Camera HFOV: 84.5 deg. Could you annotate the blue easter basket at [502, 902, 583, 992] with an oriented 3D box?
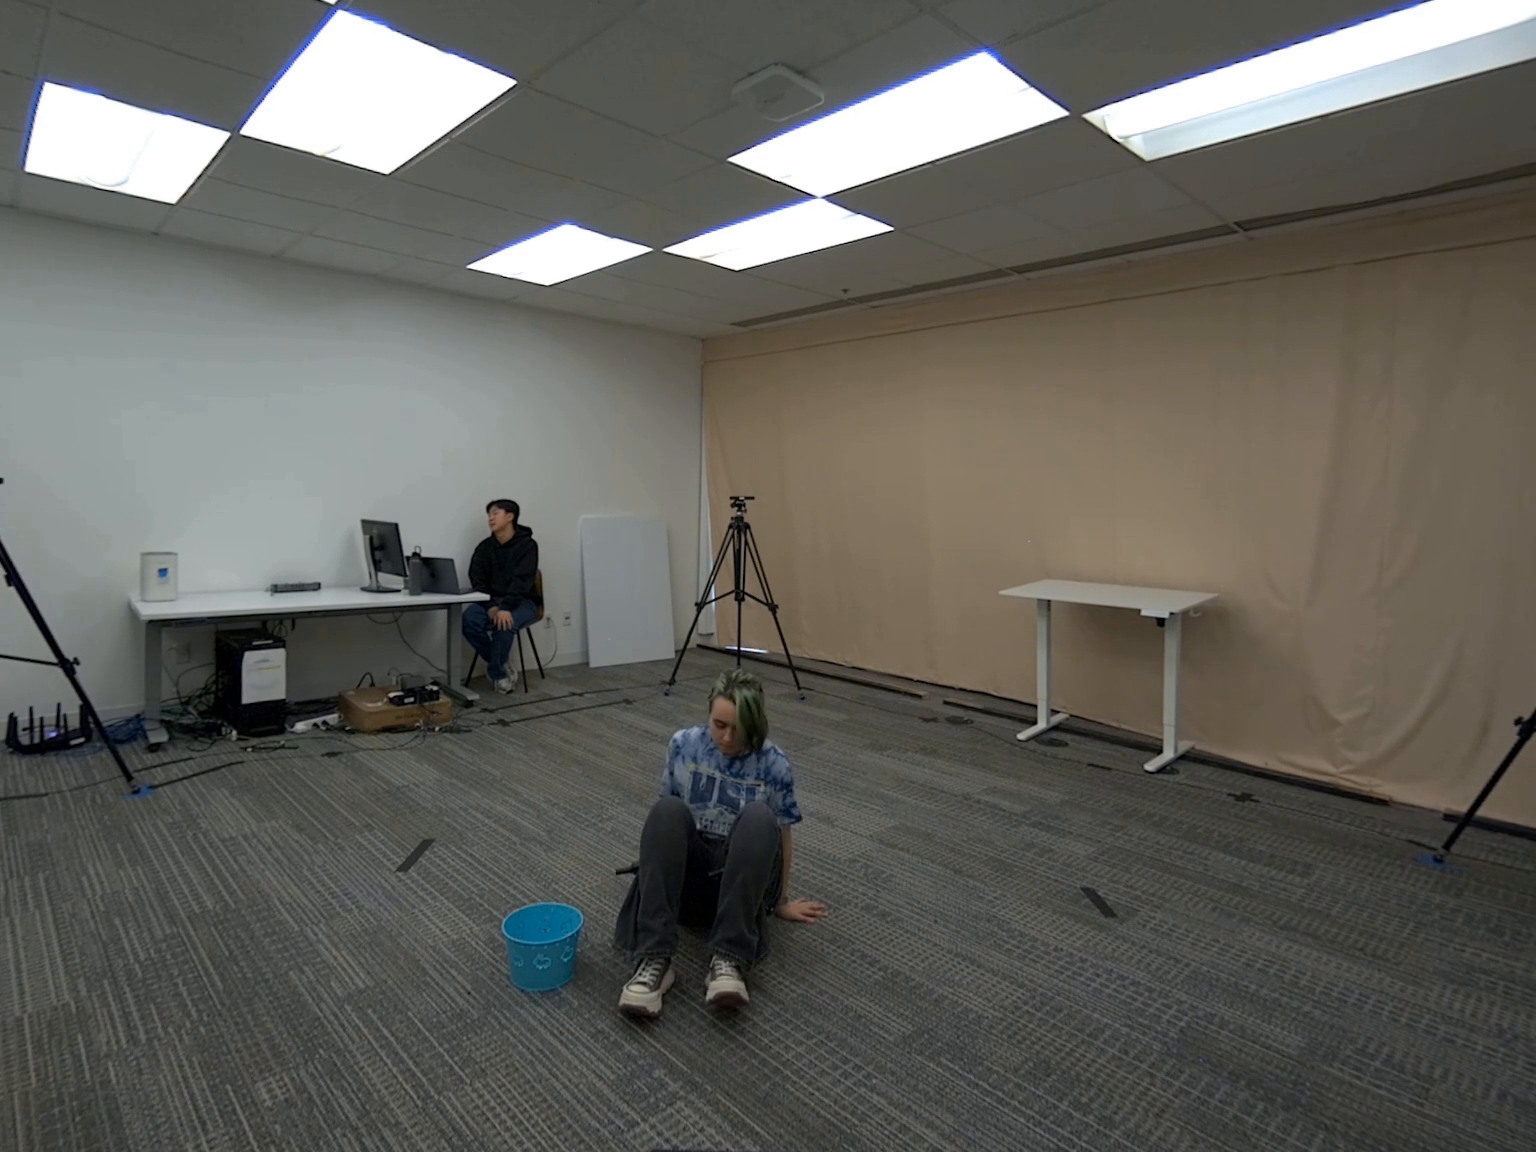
[{"bbox_3d":[-0.655,1.070,2.441,0.243,0.155,0.244,1,5,-1],"label":"blue easter basket"}]
